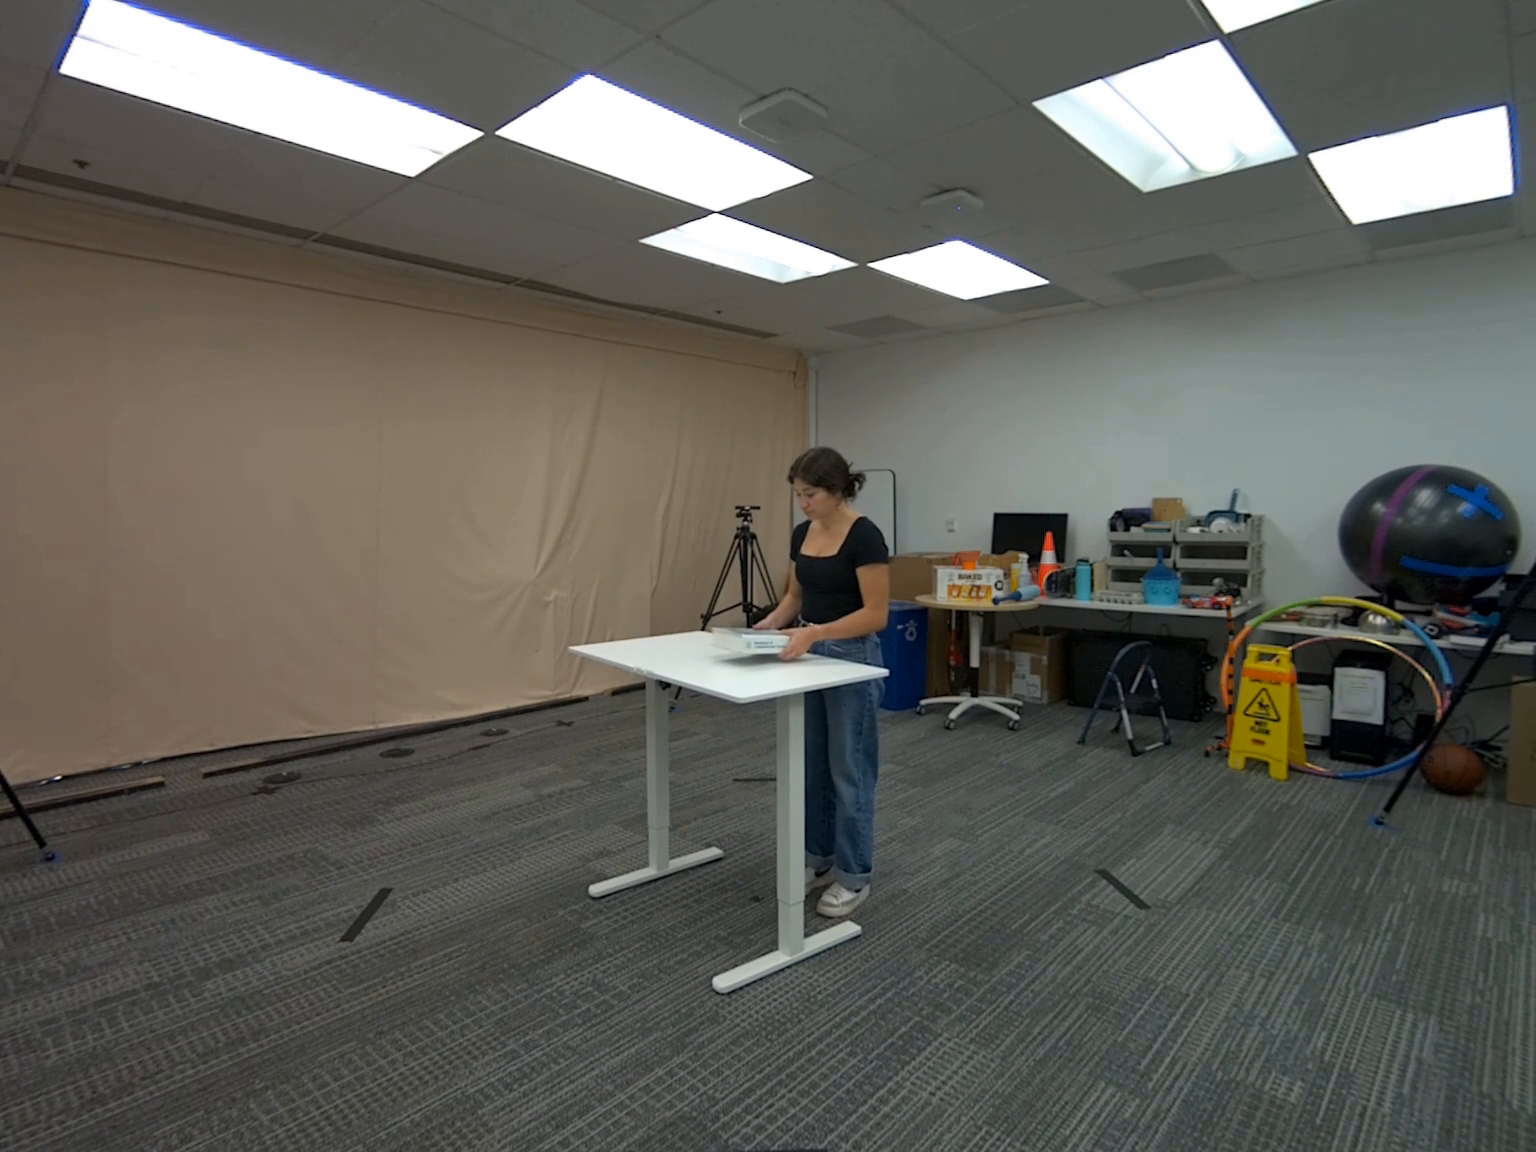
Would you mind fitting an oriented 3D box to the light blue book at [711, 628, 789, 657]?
[{"bbox_3d":[-0.025,0.221,2.775,0.253,0.059,0.197,4,2,-31],"label":"light blue book"}]
